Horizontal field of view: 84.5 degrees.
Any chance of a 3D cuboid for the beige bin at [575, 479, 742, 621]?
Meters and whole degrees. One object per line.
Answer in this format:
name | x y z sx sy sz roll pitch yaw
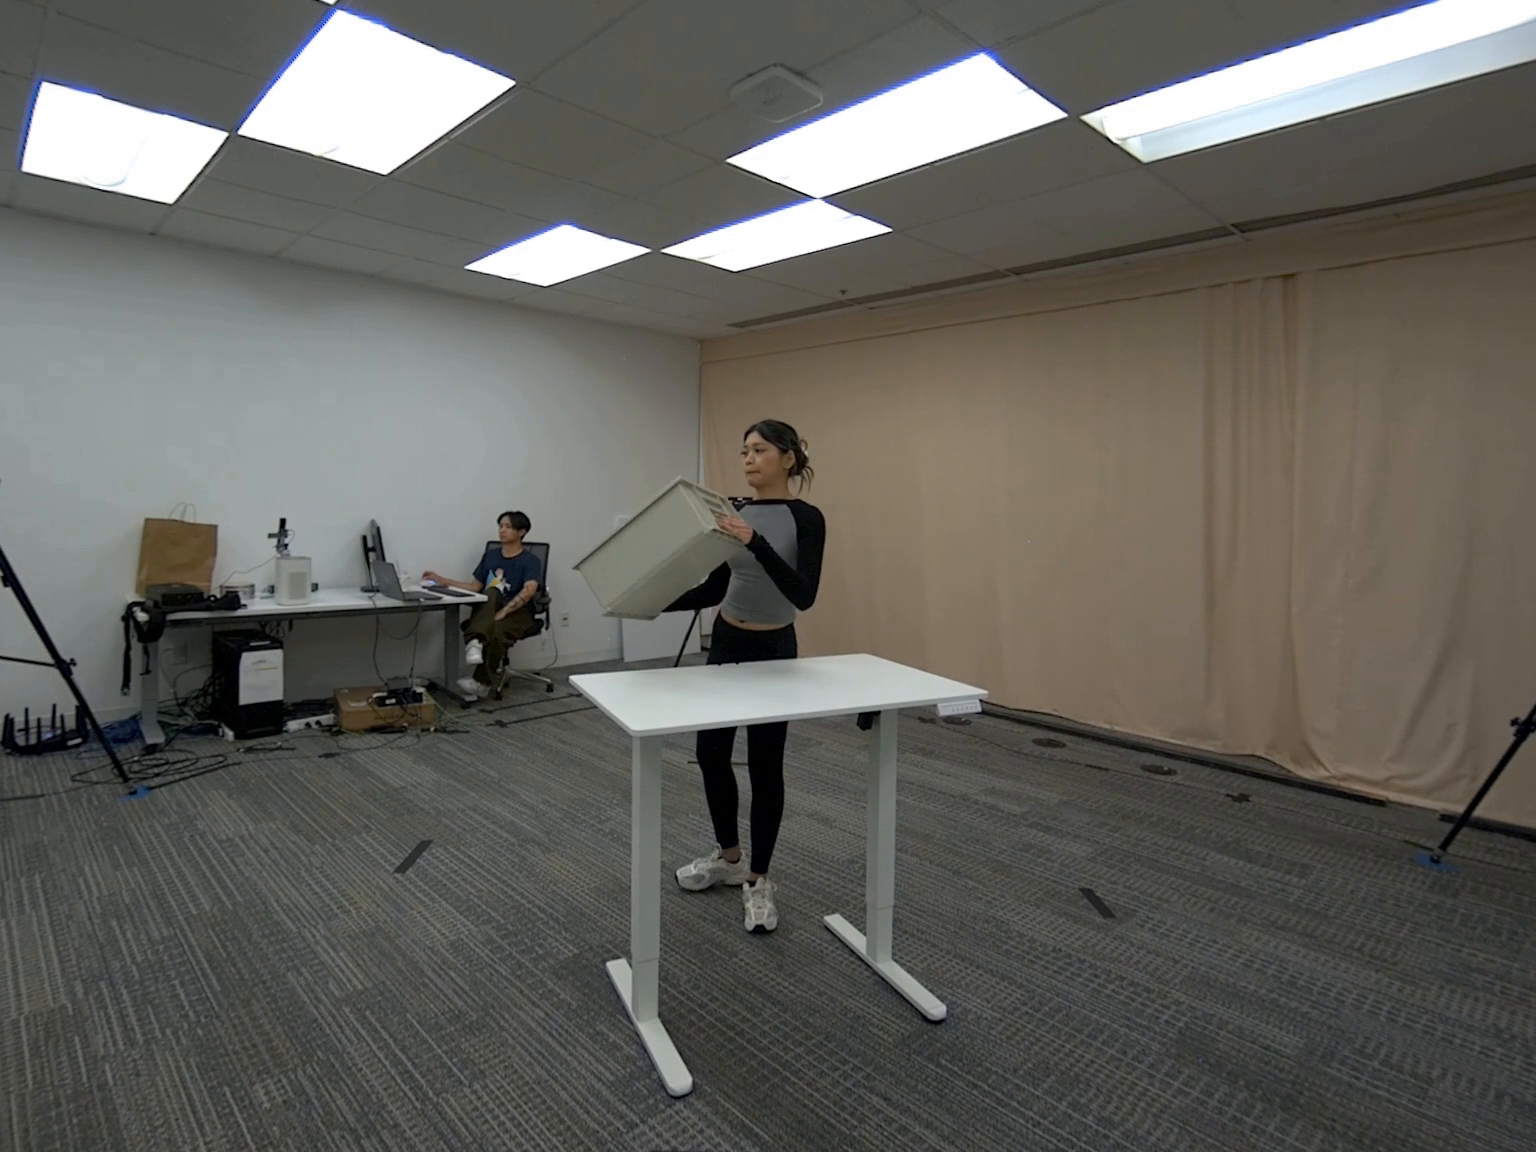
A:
beige bin | -0.302 -0.059 2.502 0.423 0.192 0.370 -37 -15 13
